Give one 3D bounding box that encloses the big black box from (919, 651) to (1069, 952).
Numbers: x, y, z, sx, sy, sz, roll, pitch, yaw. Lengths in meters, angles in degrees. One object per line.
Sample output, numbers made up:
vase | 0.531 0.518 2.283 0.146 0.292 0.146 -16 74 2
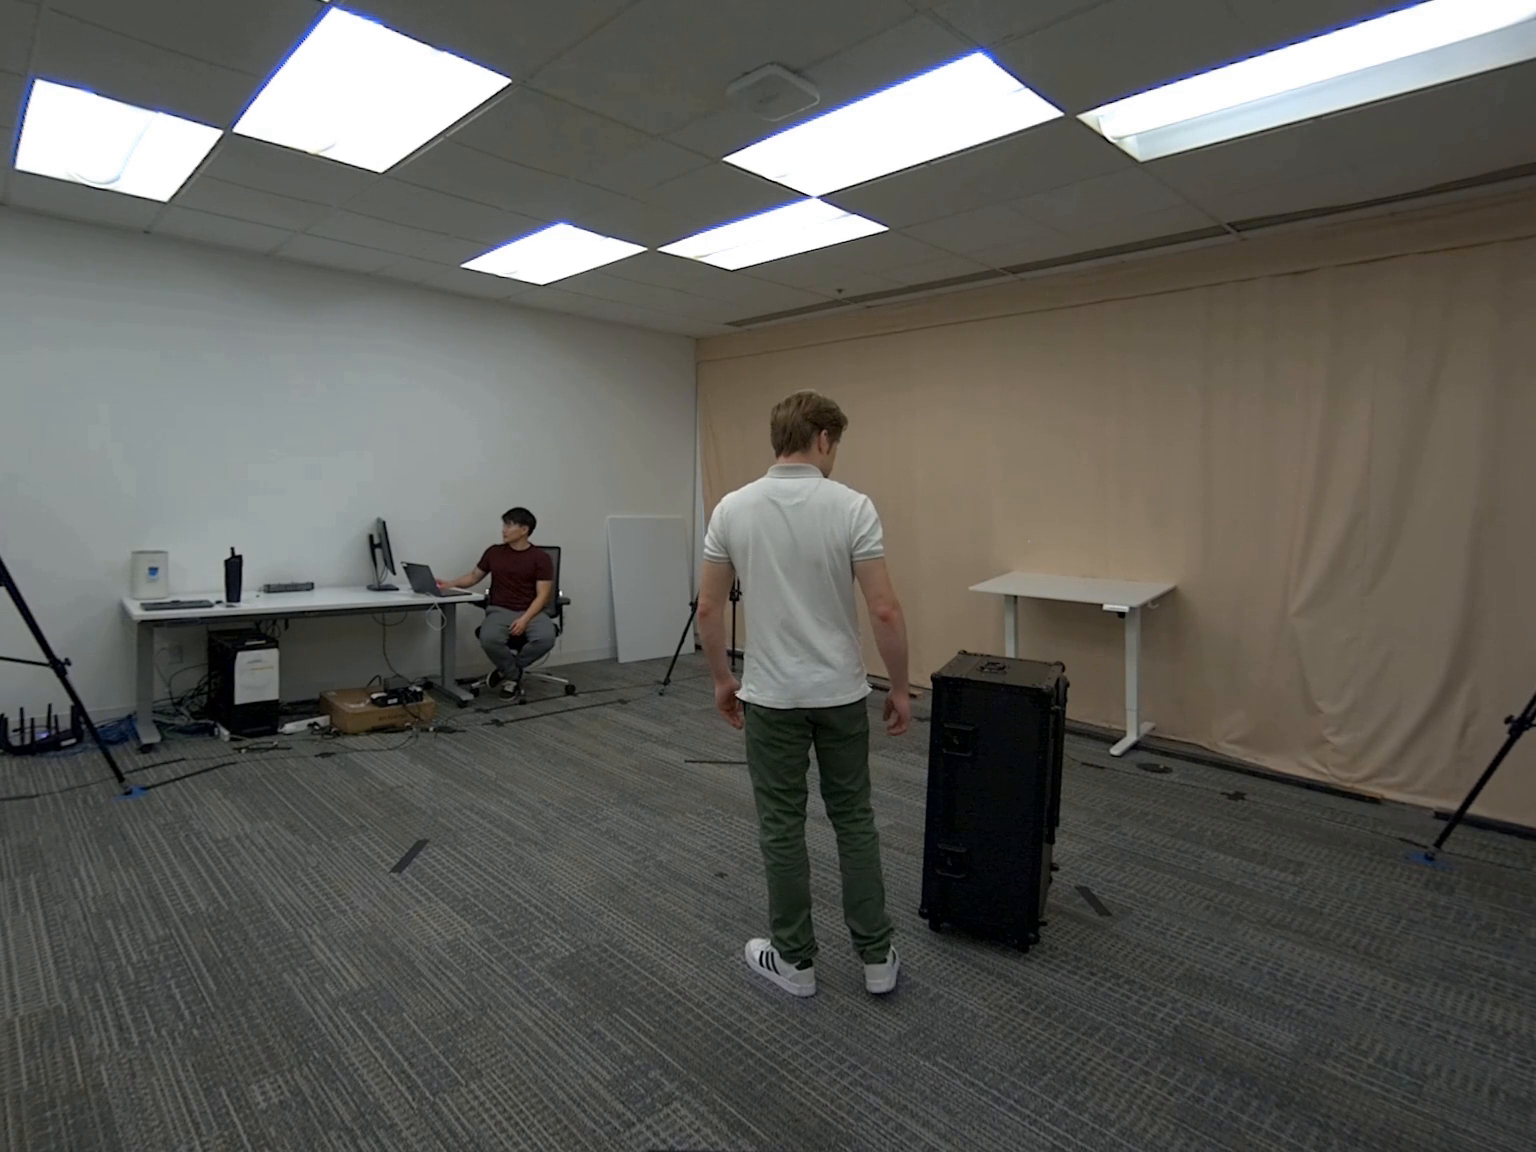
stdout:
big black box | 0.755 0.729 2.802 0.392 0.866 0.515 3 4 23
